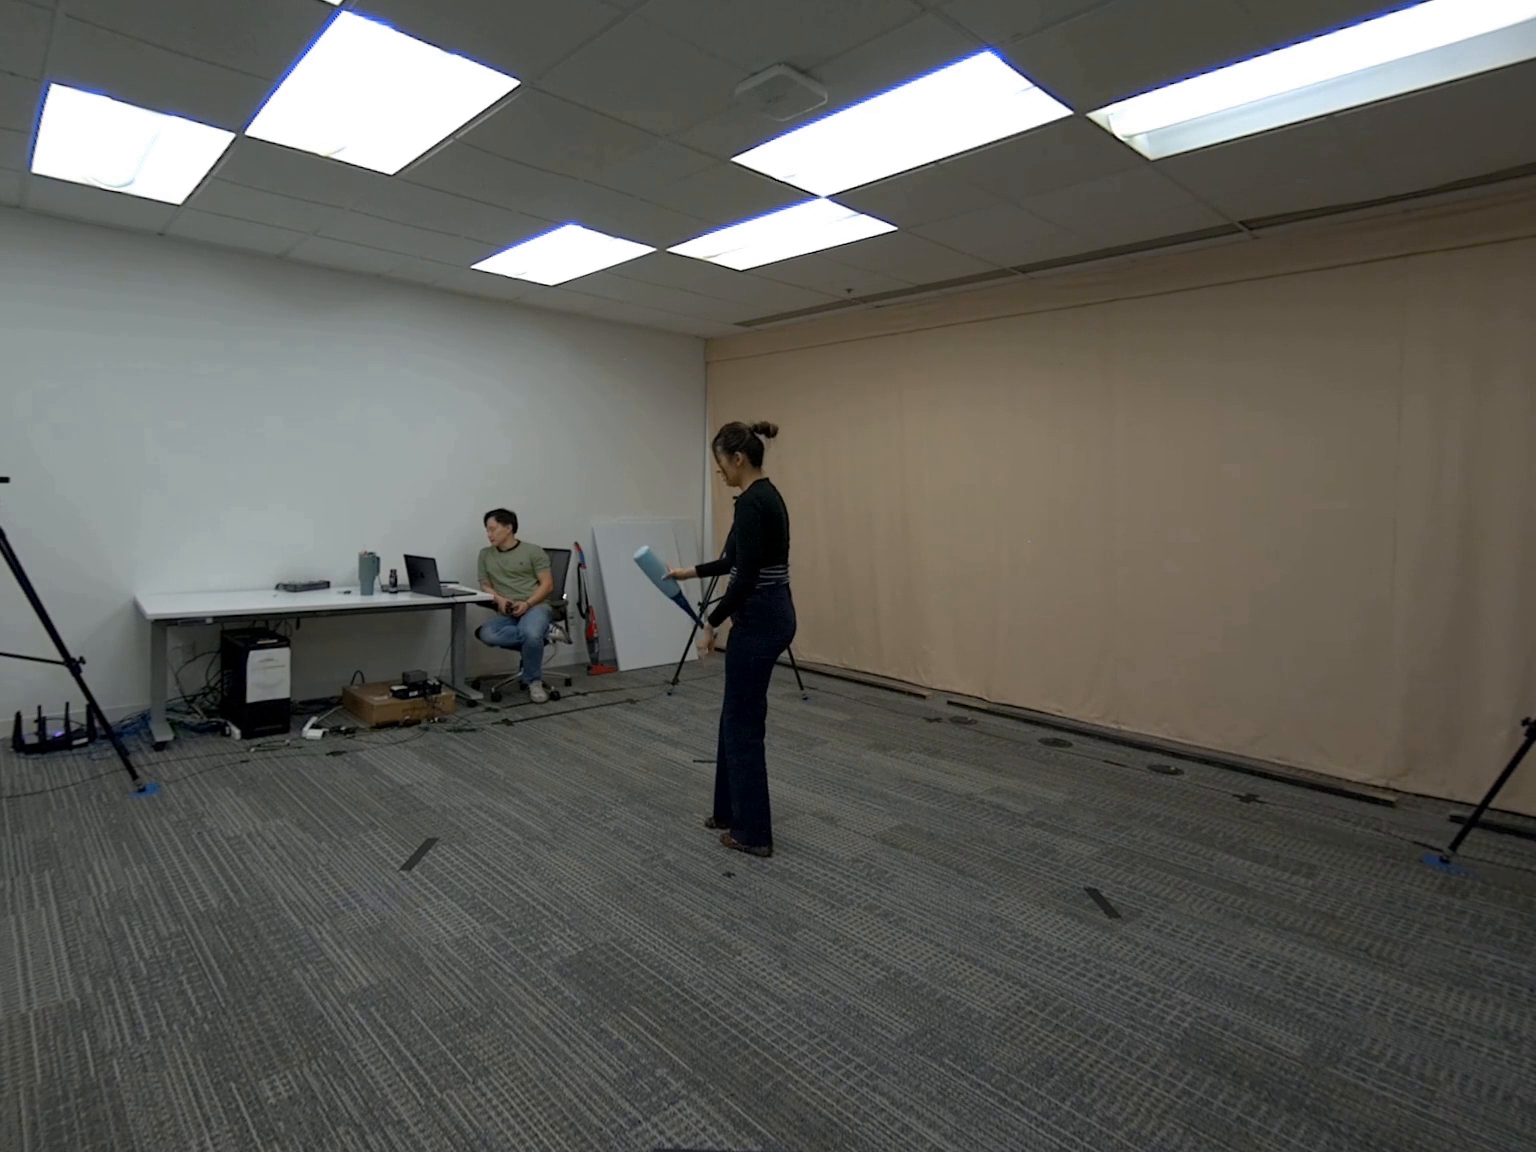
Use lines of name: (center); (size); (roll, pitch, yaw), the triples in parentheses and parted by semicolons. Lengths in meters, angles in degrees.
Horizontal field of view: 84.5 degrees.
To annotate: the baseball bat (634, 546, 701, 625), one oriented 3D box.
baseball bat: (-0.404, 0.088, 3.703); (0.089, 0.531, 0.090); (-30, 23, 14)
